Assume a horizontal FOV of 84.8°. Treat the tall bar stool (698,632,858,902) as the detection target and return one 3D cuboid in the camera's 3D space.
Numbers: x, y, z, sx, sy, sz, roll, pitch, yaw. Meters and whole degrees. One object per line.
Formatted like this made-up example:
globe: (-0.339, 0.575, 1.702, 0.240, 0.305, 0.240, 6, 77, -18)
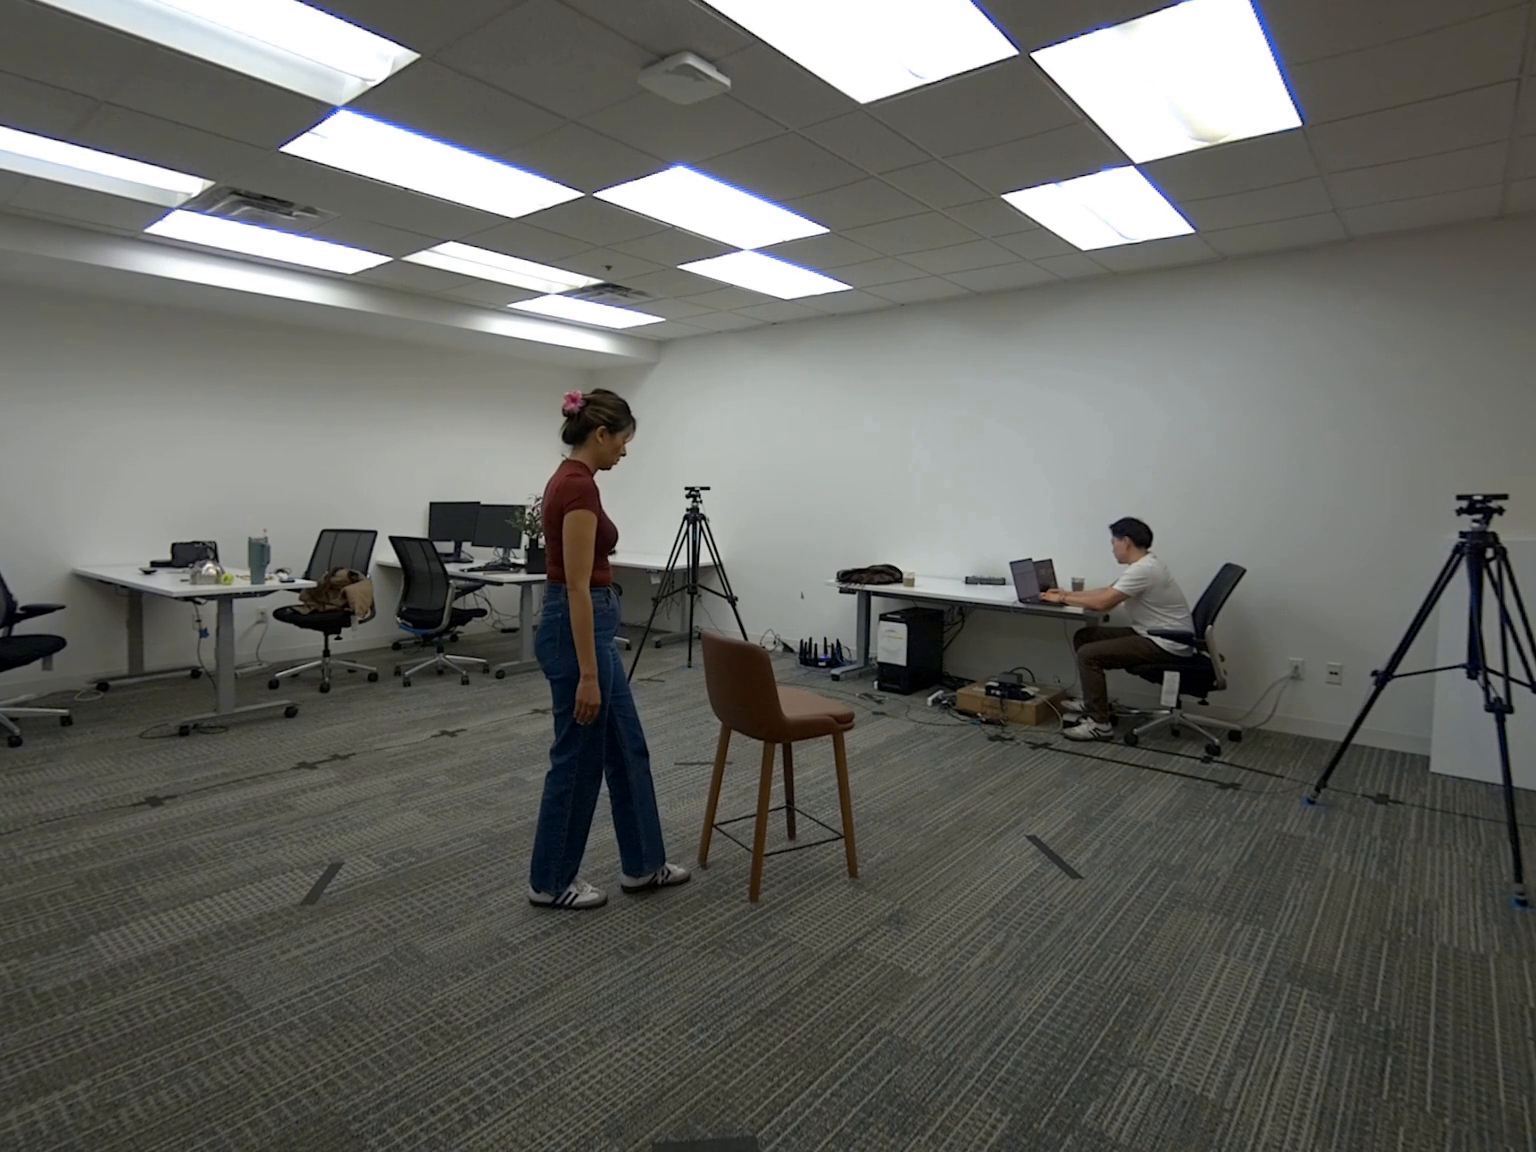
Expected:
tall bar stool: (0.018, 0.633, 3.095, 0.455, 0.887, 0.471, -3, 4, -33)
